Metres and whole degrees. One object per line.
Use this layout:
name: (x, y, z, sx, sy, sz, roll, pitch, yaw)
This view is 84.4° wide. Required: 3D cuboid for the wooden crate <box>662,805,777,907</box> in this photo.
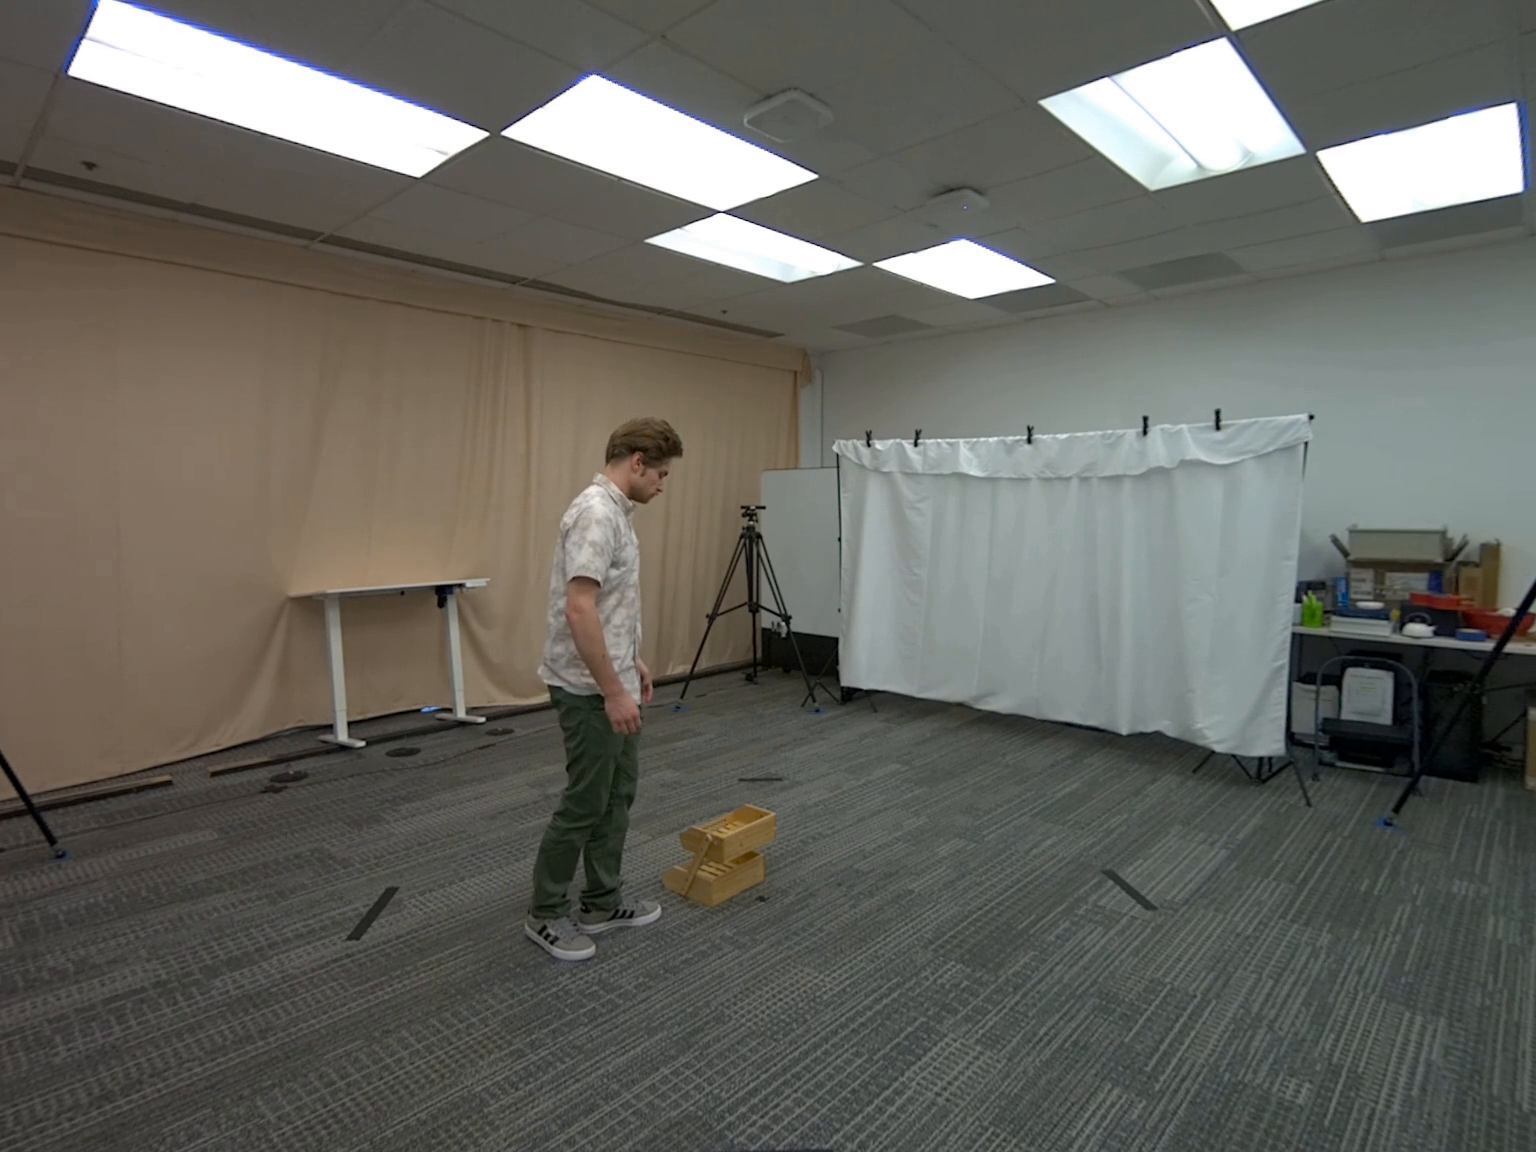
wooden crate: (-0.179, 1.001, 3.090, 0.312, 0.272, 0.315, 4, 6, 40)
